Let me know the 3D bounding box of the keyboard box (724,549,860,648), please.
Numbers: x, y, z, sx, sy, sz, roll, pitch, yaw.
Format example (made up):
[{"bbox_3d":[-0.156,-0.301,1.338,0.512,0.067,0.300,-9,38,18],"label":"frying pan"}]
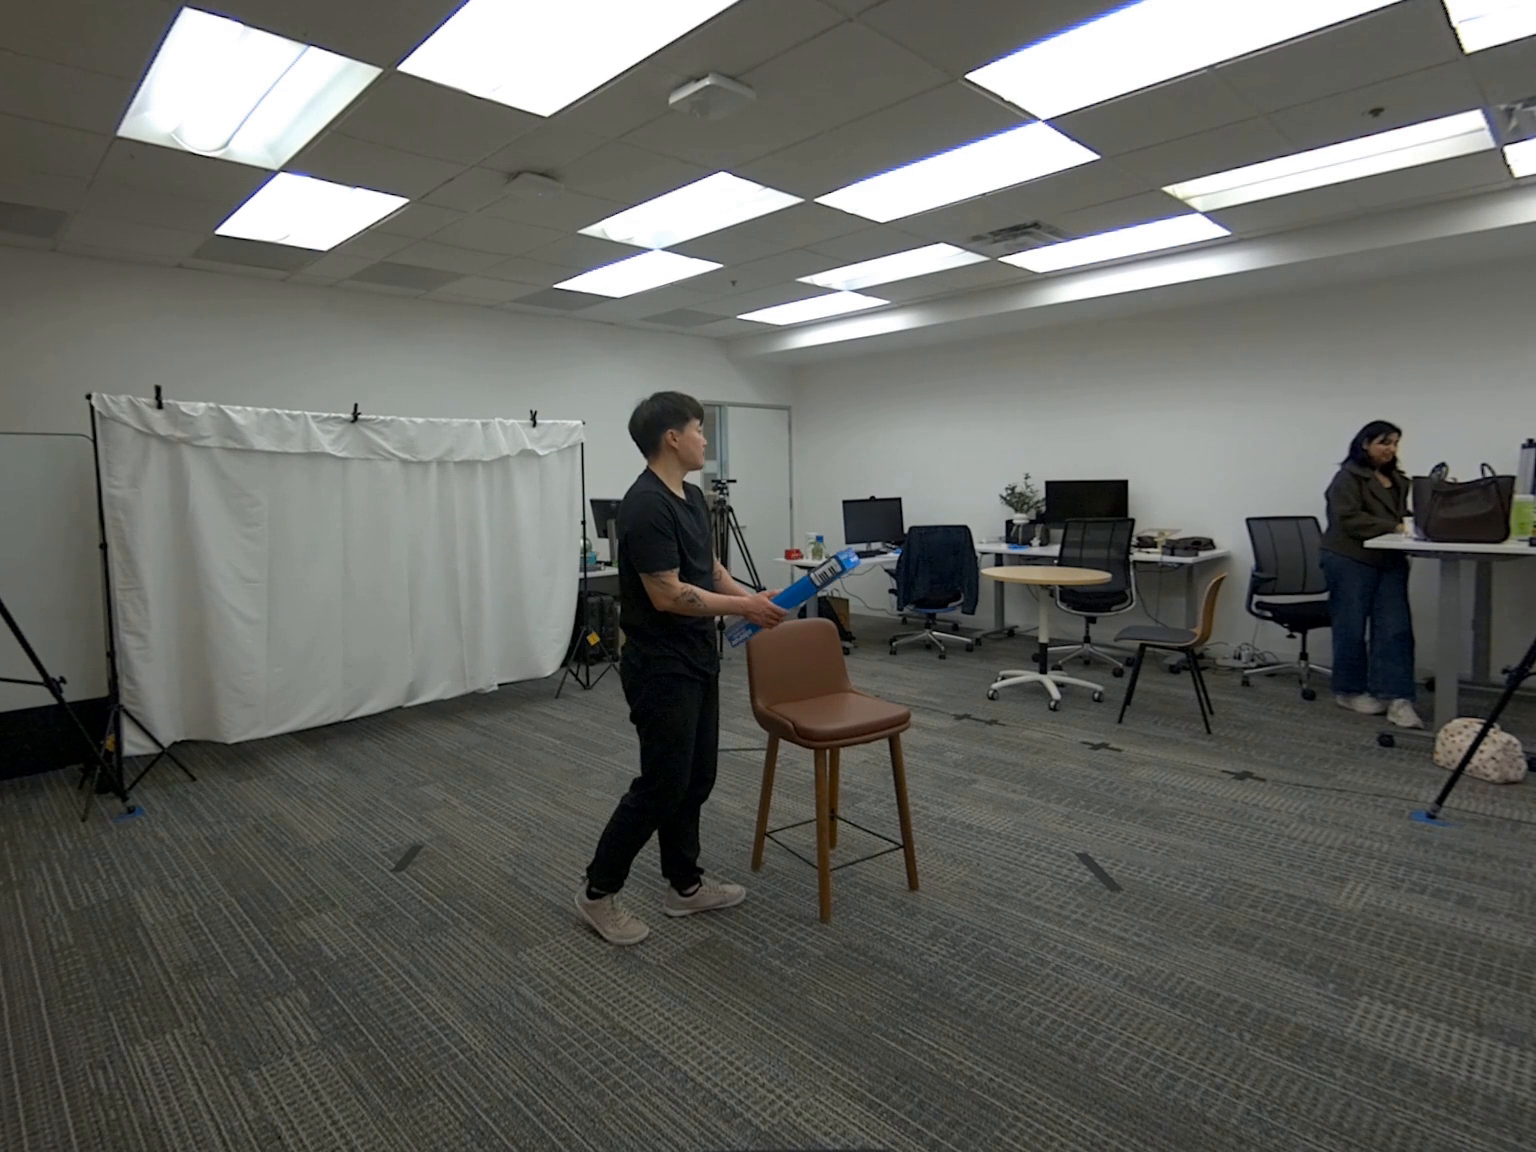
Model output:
[{"bbox_3d":[0.071,0.070,2.584,0.439,0.060,0.173,-35,-6,22],"label":"keyboard box"}]
